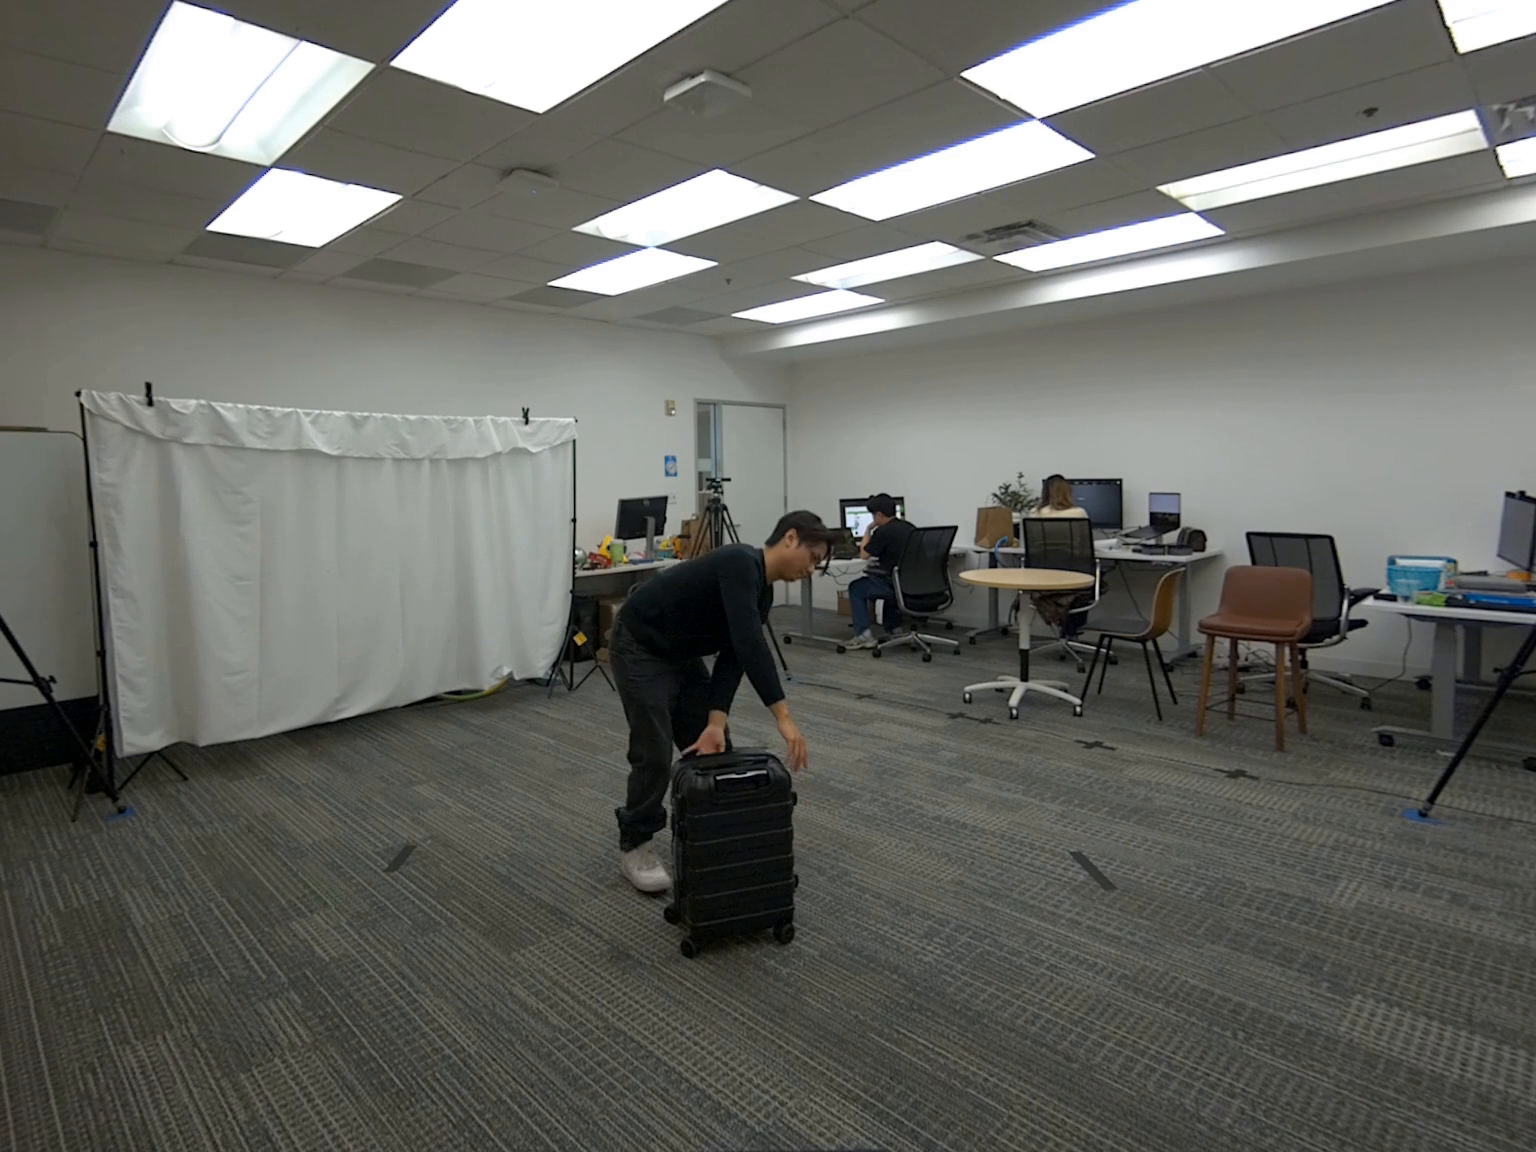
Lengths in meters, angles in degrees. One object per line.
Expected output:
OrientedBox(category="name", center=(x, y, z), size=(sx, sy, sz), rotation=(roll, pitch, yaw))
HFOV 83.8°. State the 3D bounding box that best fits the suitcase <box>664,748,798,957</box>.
OrientedBox(category="suitcase", center=(-0.113, 0.820, 2.632), size=(0.369, 0.548, 0.253), rotation=(-2, 3, -20))
